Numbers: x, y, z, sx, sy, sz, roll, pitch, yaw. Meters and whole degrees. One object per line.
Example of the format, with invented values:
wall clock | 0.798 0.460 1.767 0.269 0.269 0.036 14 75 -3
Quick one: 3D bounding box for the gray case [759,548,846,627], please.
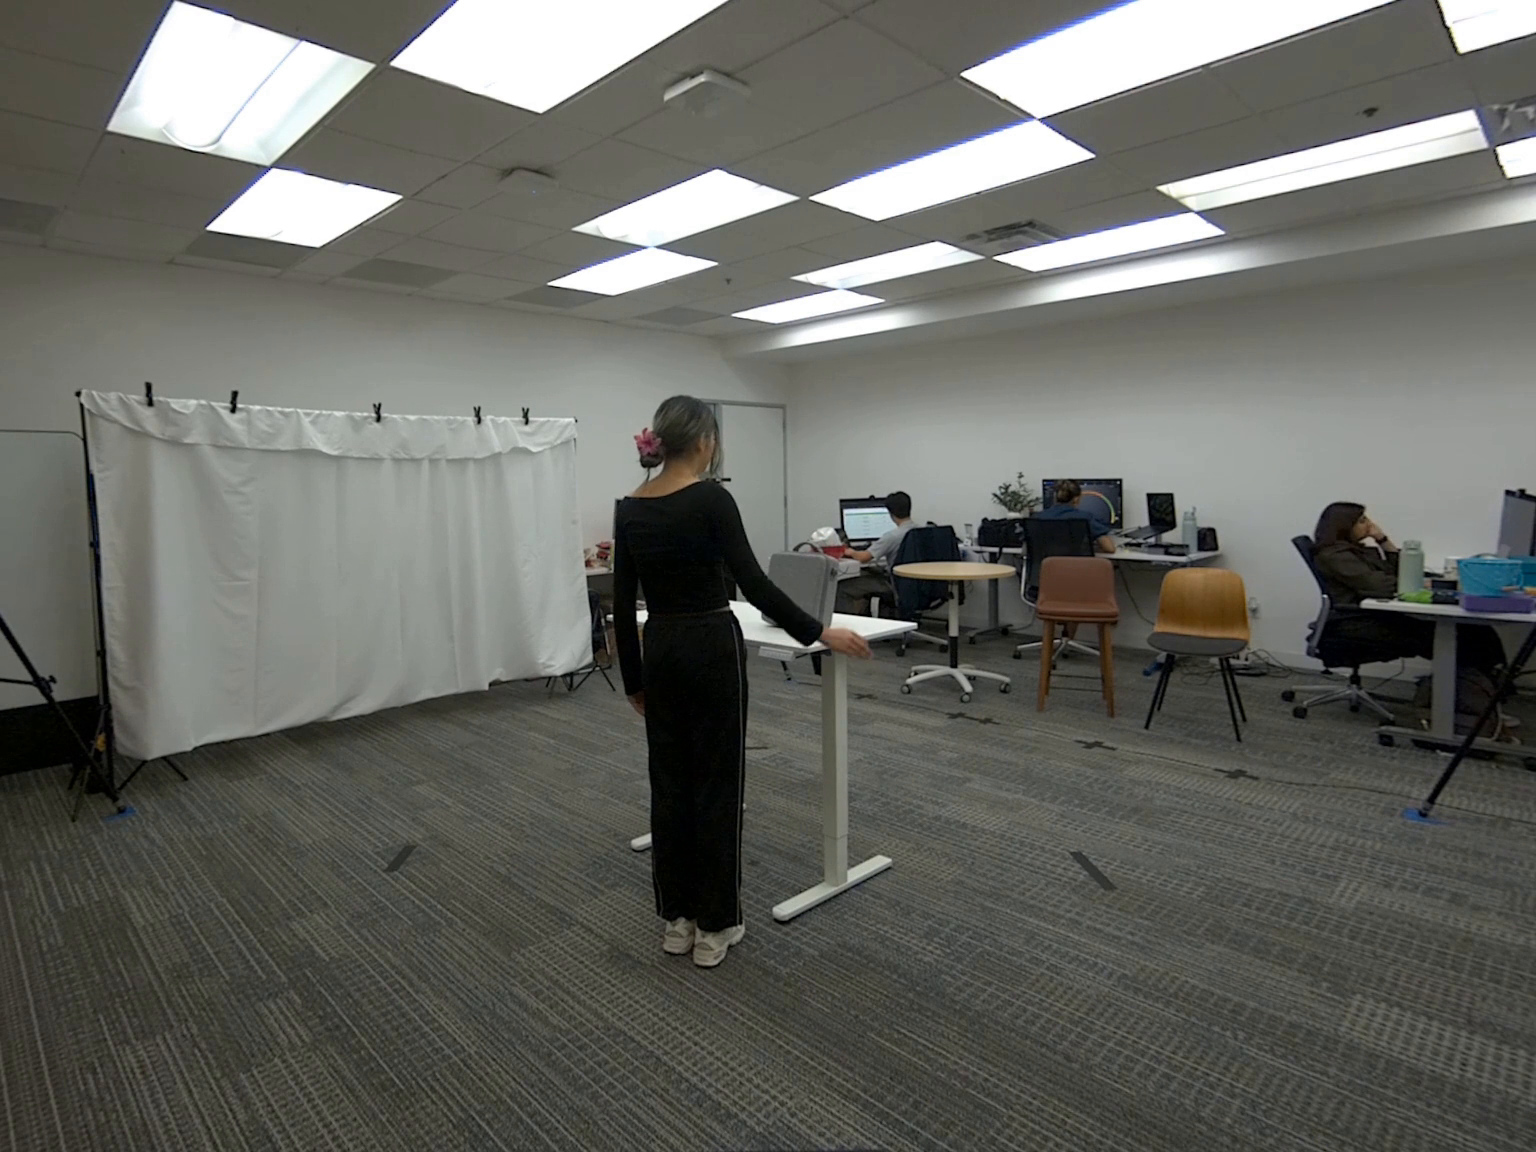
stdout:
gray case | 0.113 0.046 2.910 0.101 0.261 0.265 13 -6 -42
